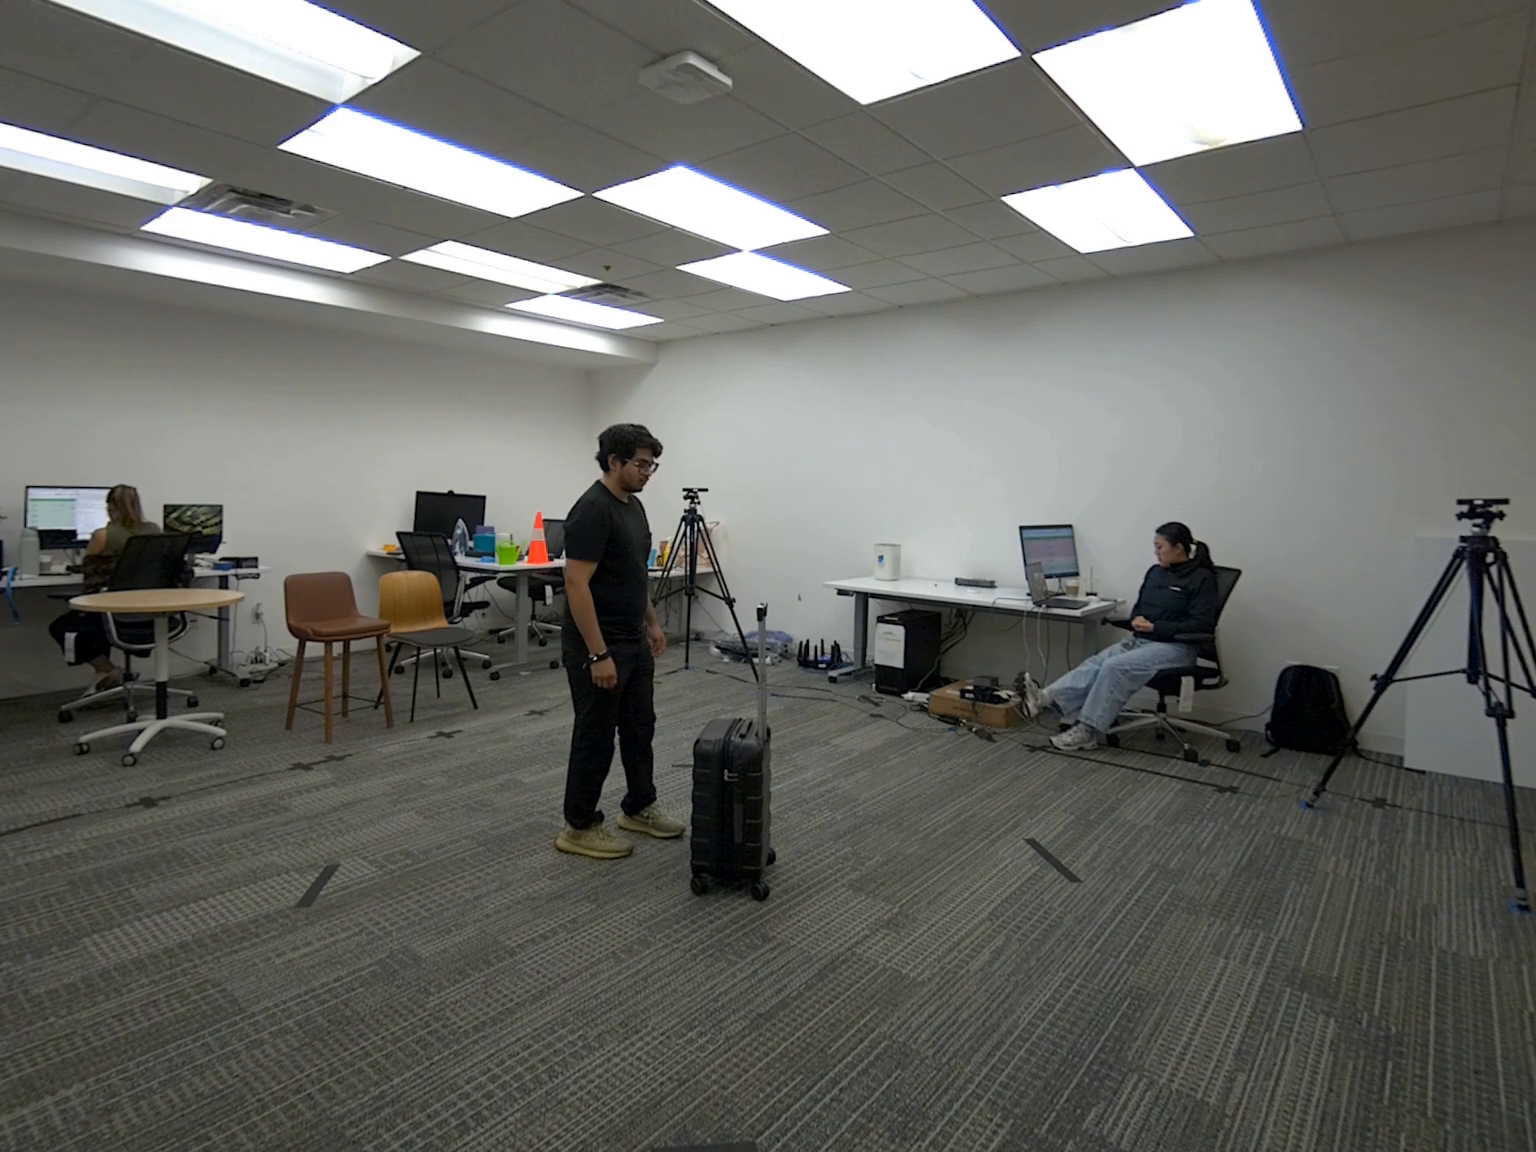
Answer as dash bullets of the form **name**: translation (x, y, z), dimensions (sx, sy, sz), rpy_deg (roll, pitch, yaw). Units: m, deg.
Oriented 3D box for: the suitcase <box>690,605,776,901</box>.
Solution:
- **suitcase**: translation (-0.137, 0.598, 3.044), dimensions (0.259, 0.978, 0.381), rpy_deg (-1, 1, 7)
